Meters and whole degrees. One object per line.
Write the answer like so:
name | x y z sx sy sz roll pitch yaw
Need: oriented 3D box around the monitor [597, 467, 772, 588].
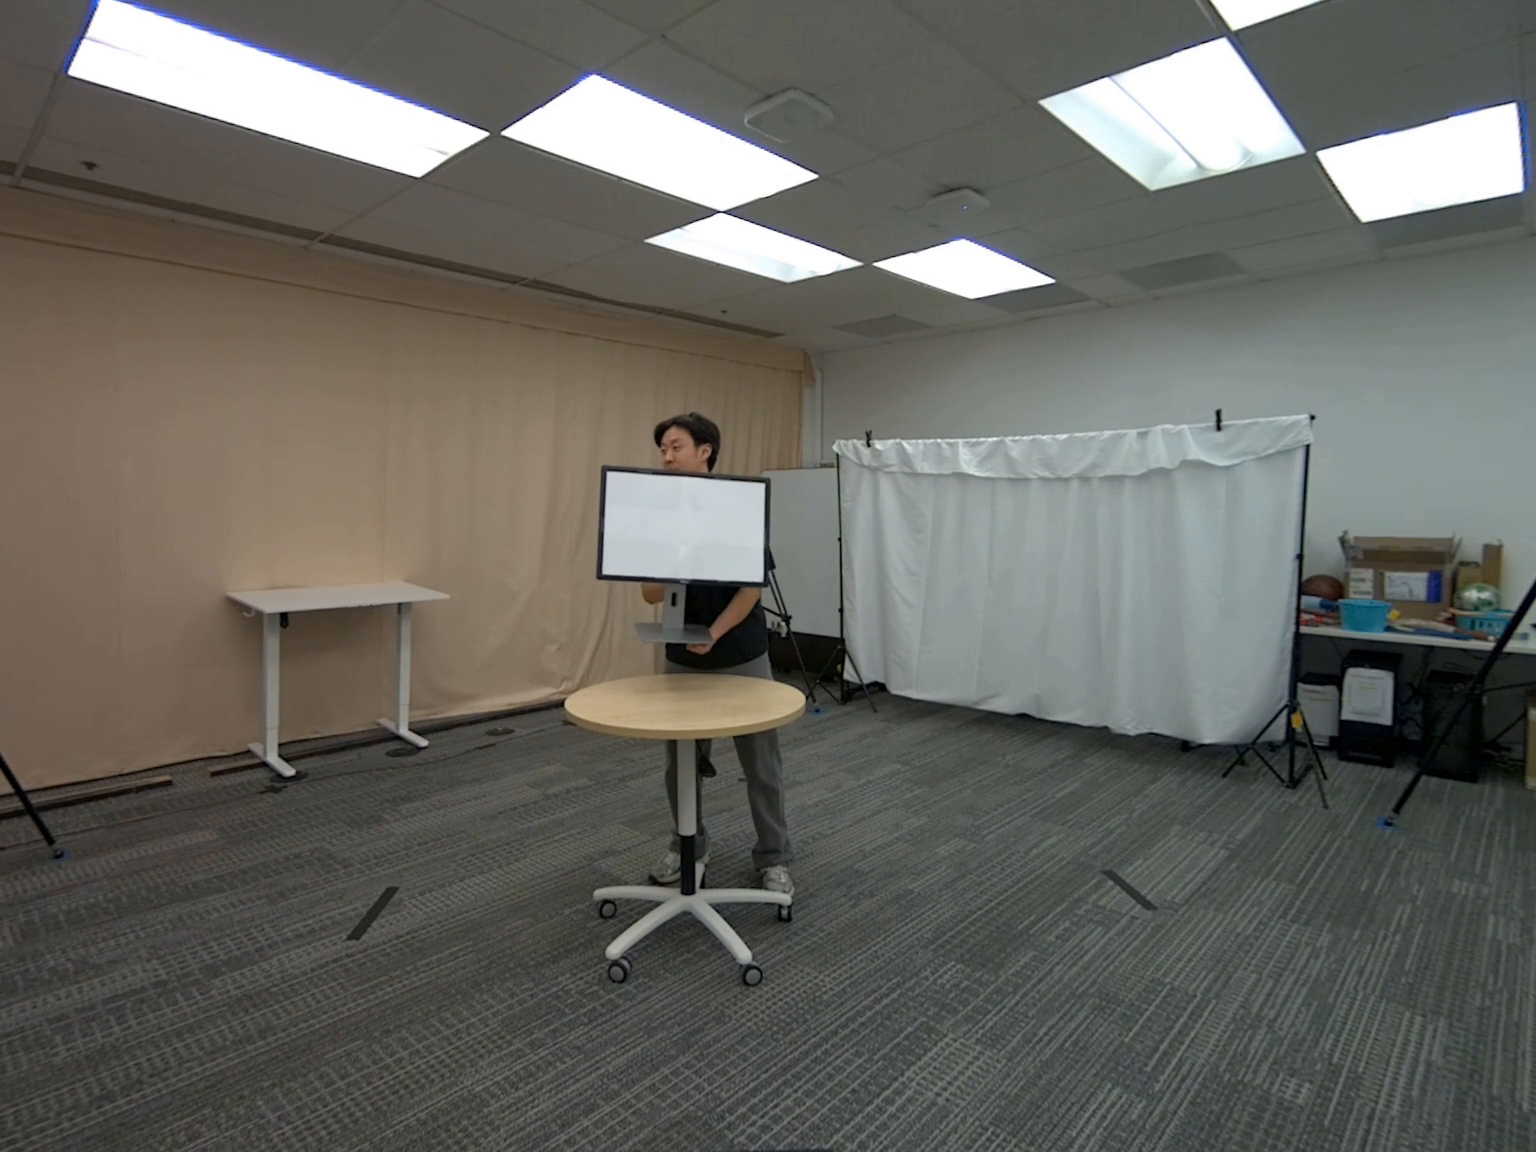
monitor | -0.286 -0.050 2.746 0.555 0.563 0.226 4 10 -11
